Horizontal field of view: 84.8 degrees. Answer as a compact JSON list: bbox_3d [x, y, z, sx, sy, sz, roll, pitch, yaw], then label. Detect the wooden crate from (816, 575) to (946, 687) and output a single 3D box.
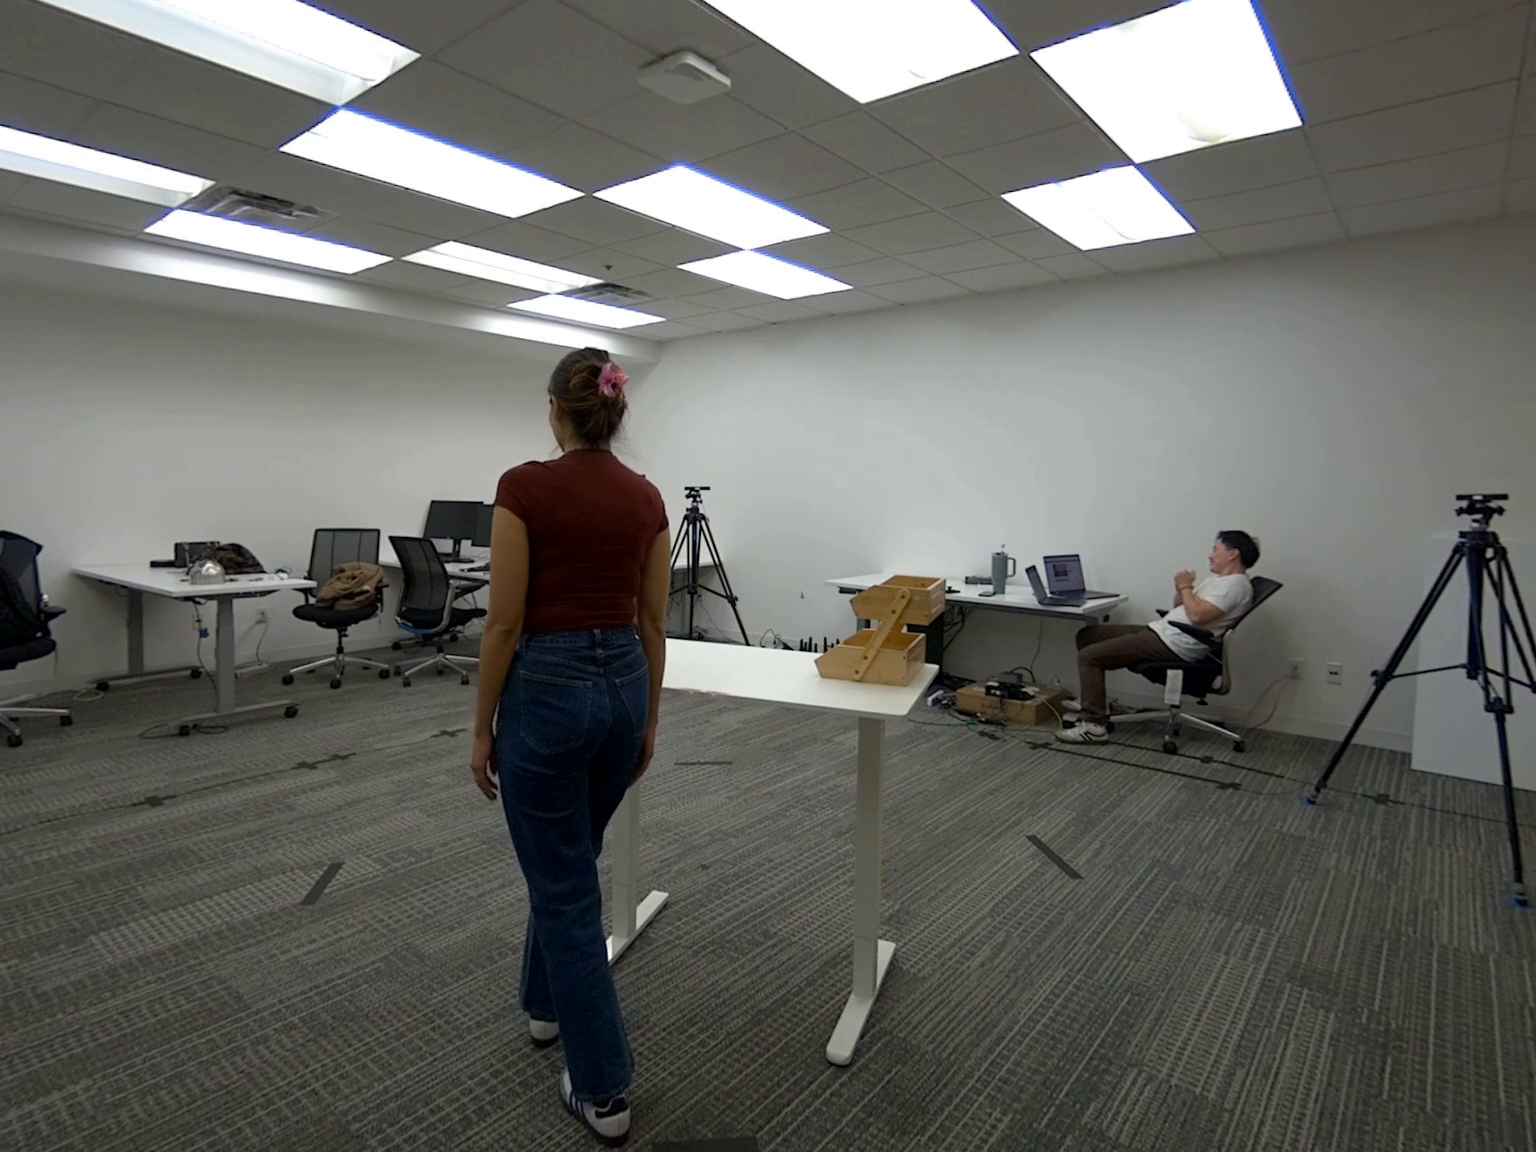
[{"bbox_3d":[0.313,0.135,2.378,0.309,0.272,0.318,3,6,21],"label":"wooden crate"}]
